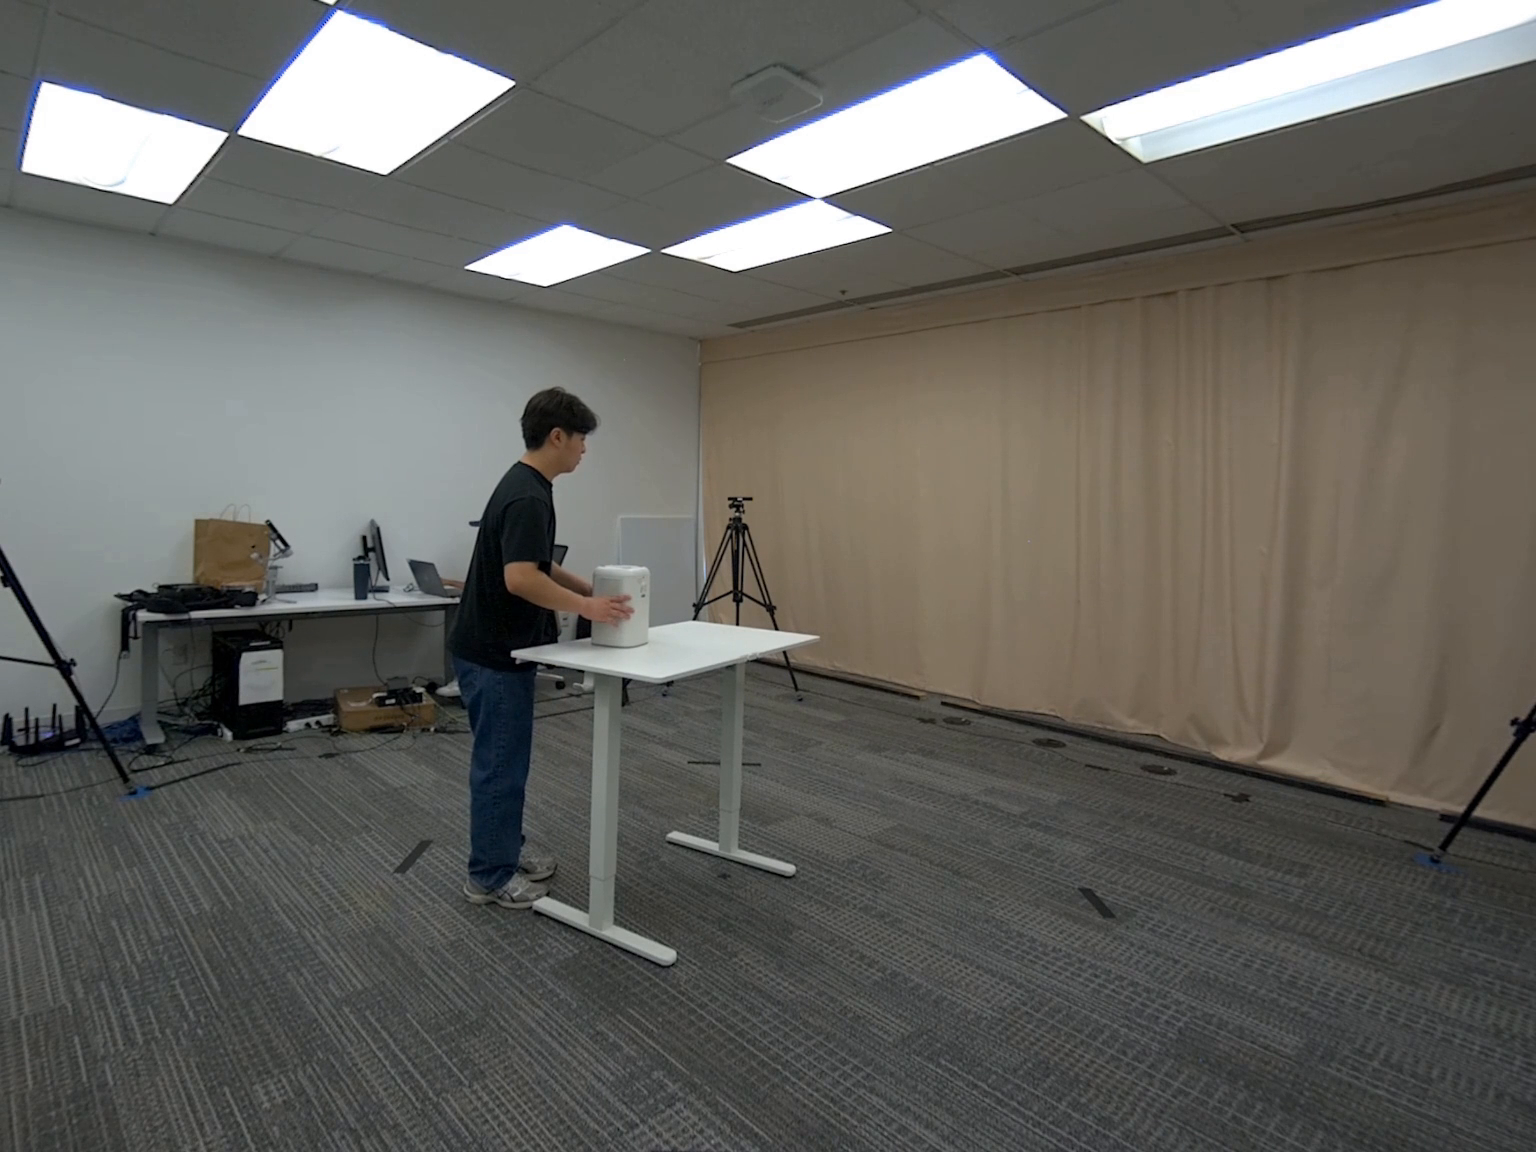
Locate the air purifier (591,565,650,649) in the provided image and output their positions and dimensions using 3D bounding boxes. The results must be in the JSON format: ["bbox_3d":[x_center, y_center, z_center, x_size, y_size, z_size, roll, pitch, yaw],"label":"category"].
[{"bbox_3d":[-0.516,0.101,2.875,0.174,0.265,0.169,4,4,17],"label":"air purifier"}]
